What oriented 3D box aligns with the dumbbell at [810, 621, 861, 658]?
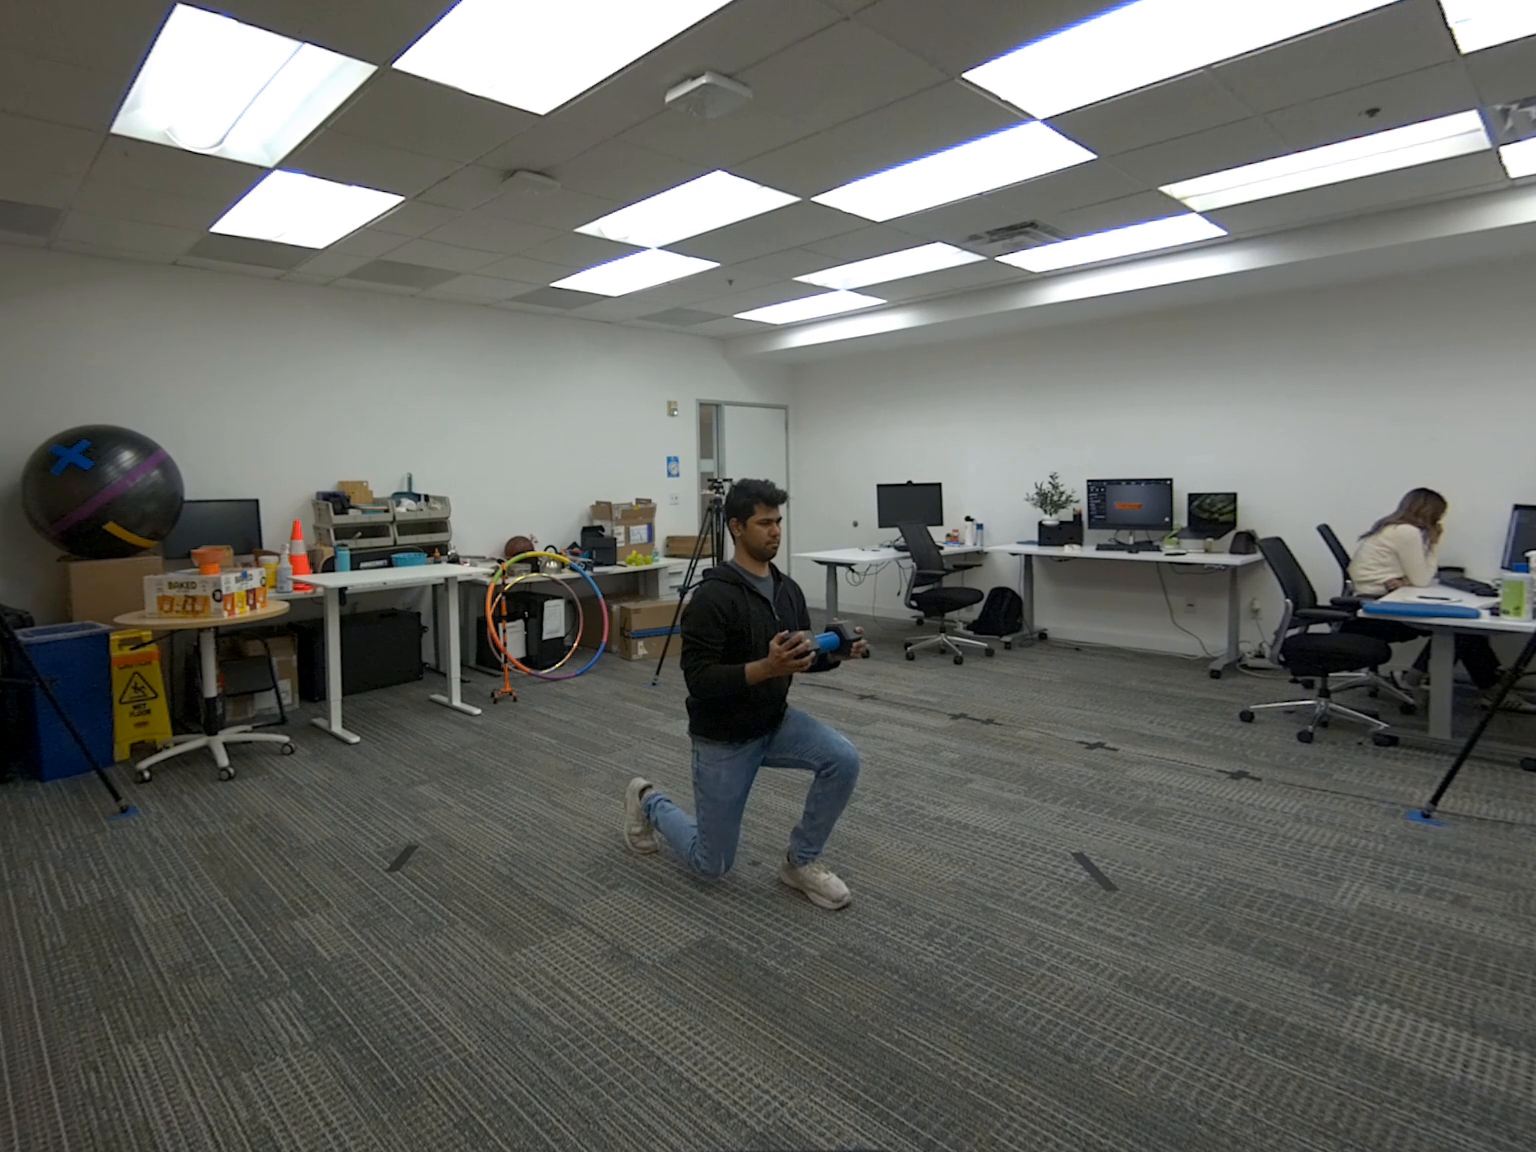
[{"bbox_3d":[0.160,0.210,2.747,0.286,0.121,0.113,-10,33,-44],"label":"dumbbell"}]
